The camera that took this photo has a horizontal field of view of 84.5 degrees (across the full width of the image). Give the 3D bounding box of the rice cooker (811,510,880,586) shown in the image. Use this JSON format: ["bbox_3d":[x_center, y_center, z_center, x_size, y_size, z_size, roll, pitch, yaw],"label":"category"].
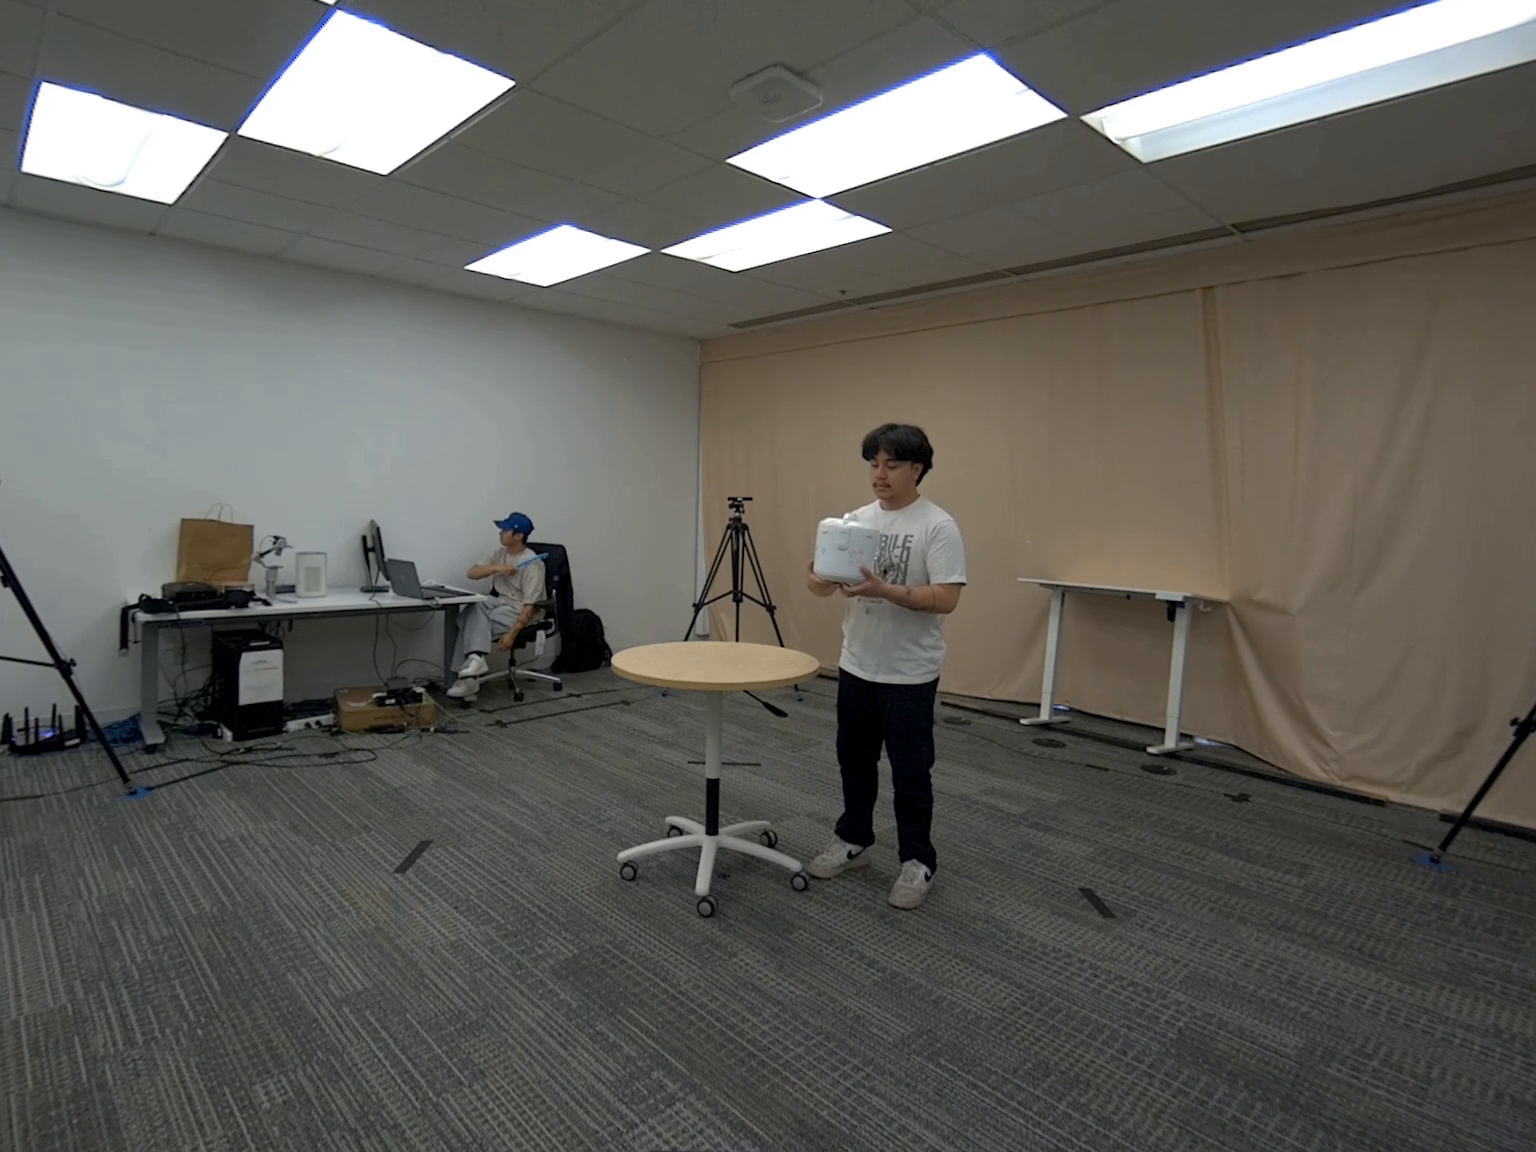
[{"bbox_3d":[0.263,-0.096,2.824,0.221,0.232,0.218,7,4,16],"label":"rice cooker"}]
